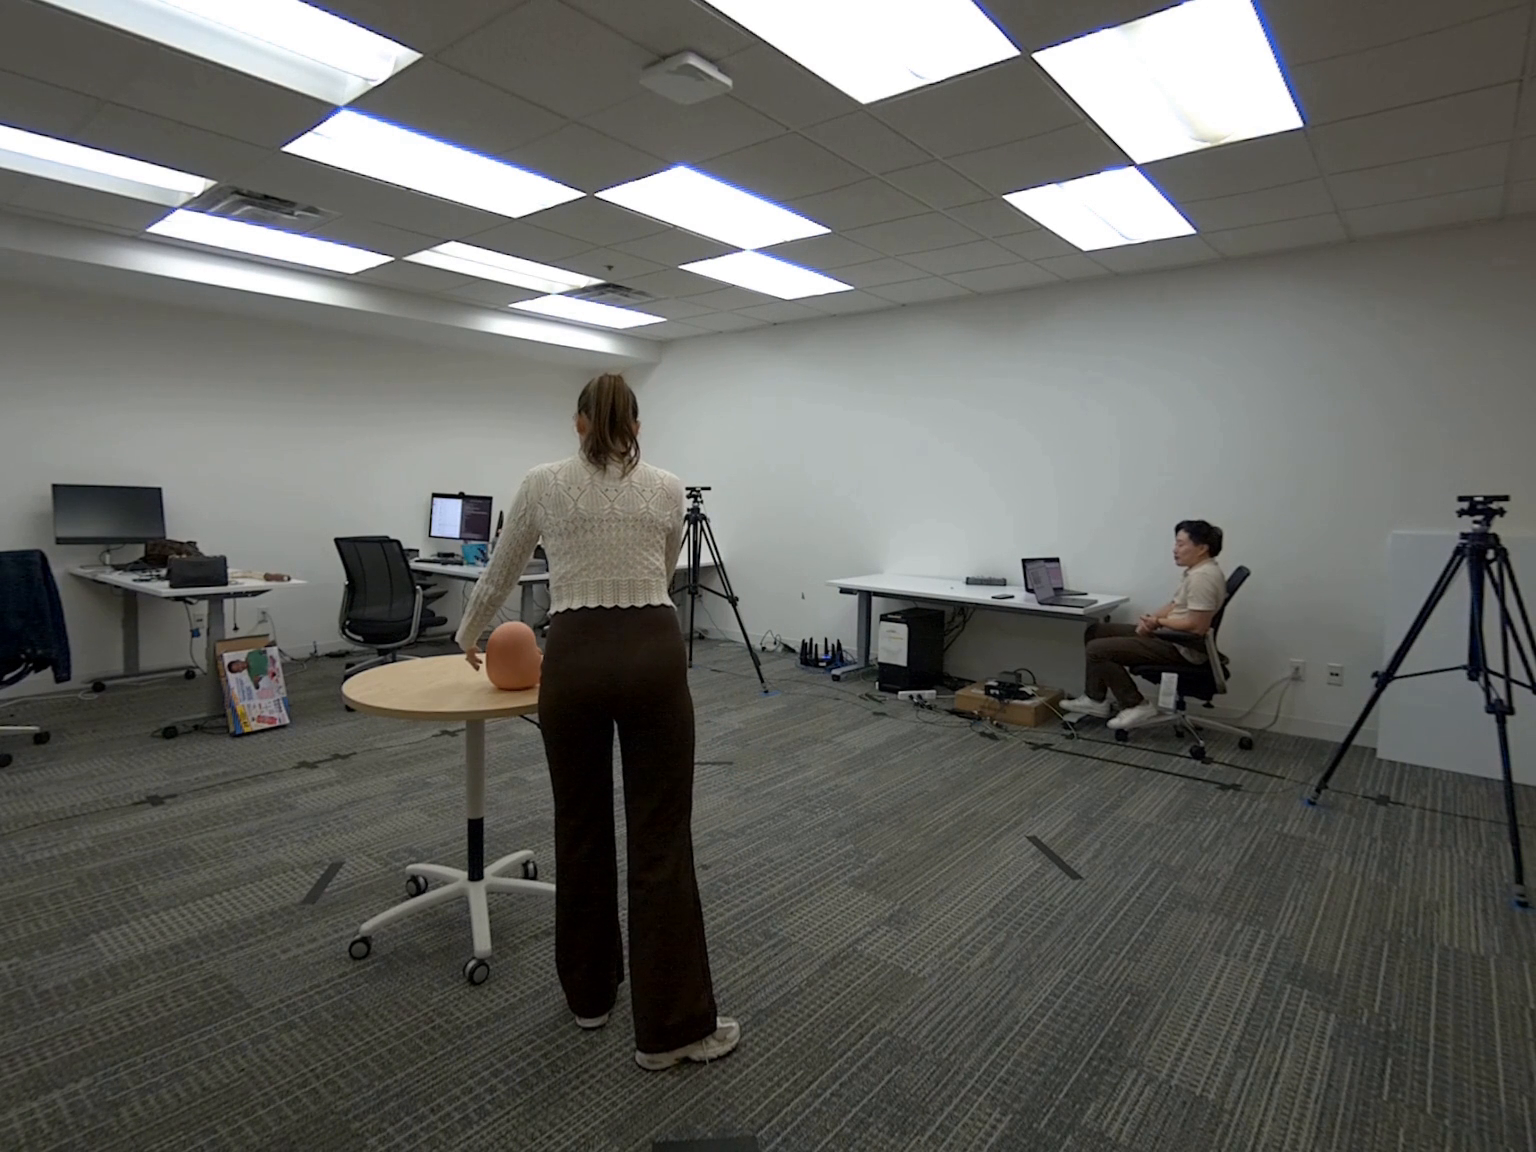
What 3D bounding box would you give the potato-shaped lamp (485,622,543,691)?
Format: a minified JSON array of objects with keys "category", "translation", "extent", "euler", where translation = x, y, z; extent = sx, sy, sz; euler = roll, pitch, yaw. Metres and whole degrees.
[{"category":"potato-shaped lamp","translation":[-0.776,0.233,2.560],"extent":[0.170,0.197,0.167],"euler":[6,8,33]}]
